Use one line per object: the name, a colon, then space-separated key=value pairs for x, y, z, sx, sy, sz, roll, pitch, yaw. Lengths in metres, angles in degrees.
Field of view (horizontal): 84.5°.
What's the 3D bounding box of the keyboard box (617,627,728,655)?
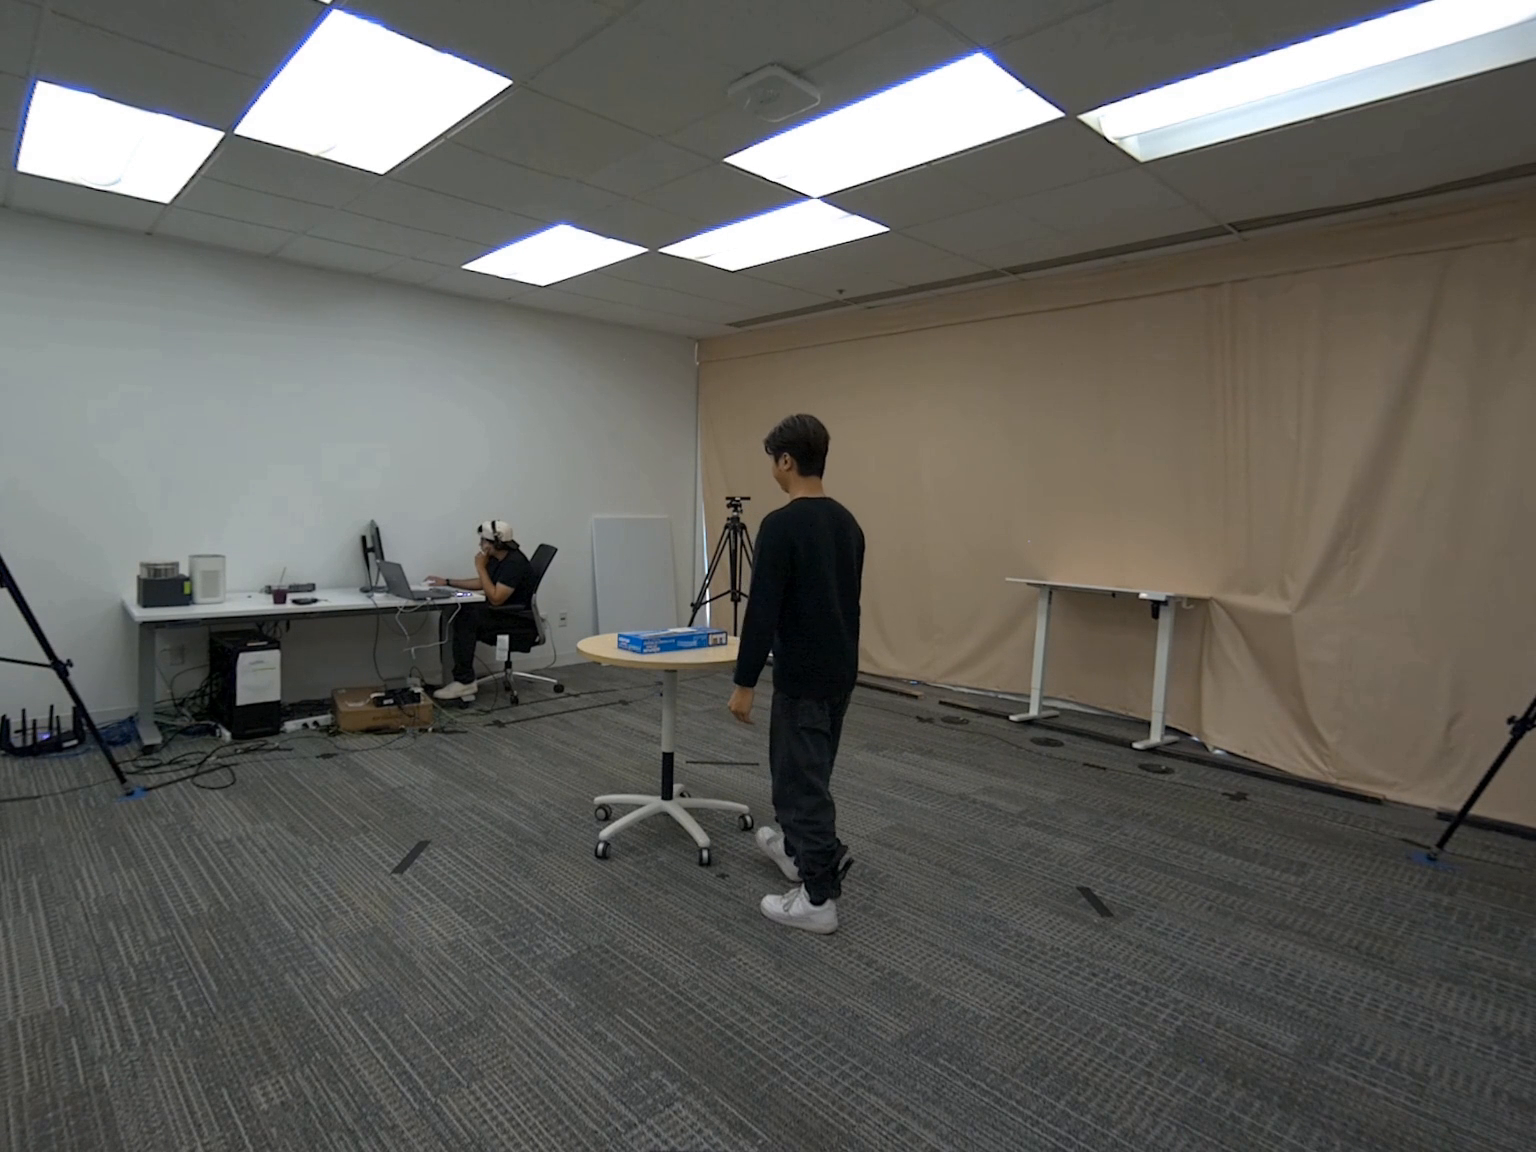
keyboard box: x=-0.389 y=0.258 z=3.435 sx=0.427 sy=0.059 sz=0.180 roll=-2 pitch=6 yaw=-43
